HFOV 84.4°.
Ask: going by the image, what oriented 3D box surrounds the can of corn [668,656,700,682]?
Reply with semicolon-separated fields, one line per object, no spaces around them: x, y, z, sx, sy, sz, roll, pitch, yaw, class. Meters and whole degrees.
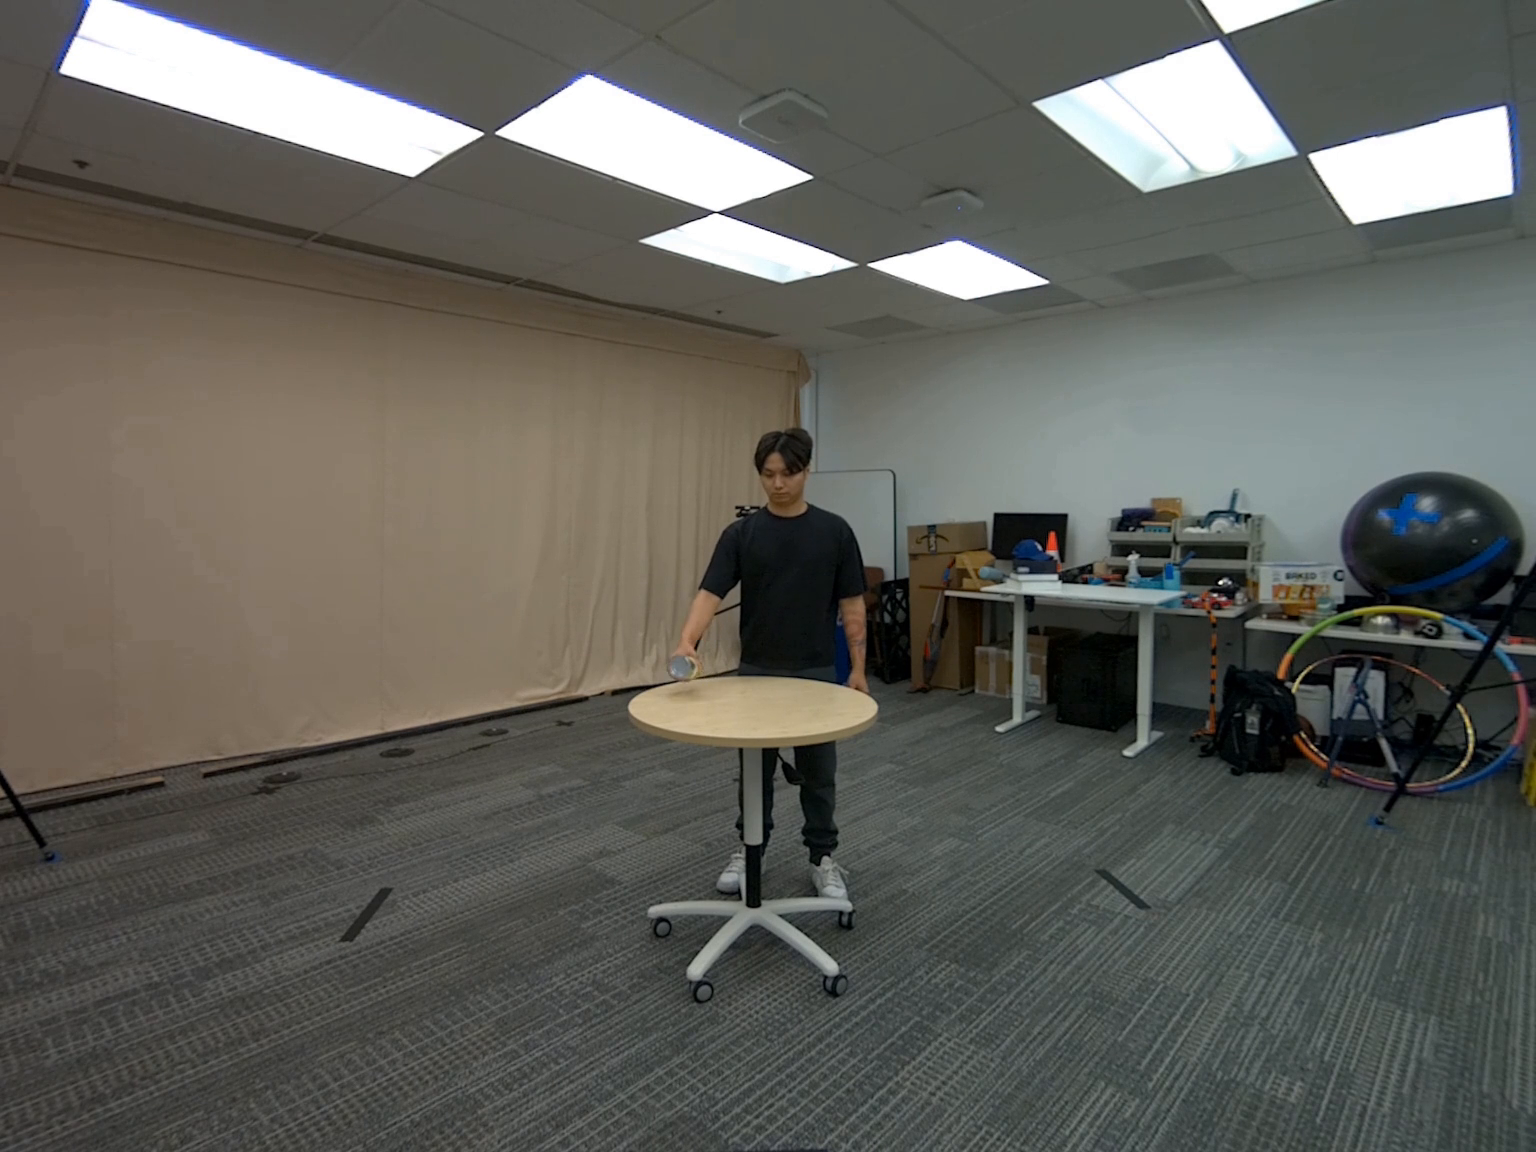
-0.260;0.301;2.705;0.075;0.074;0.110;0;0;6;can of corn
